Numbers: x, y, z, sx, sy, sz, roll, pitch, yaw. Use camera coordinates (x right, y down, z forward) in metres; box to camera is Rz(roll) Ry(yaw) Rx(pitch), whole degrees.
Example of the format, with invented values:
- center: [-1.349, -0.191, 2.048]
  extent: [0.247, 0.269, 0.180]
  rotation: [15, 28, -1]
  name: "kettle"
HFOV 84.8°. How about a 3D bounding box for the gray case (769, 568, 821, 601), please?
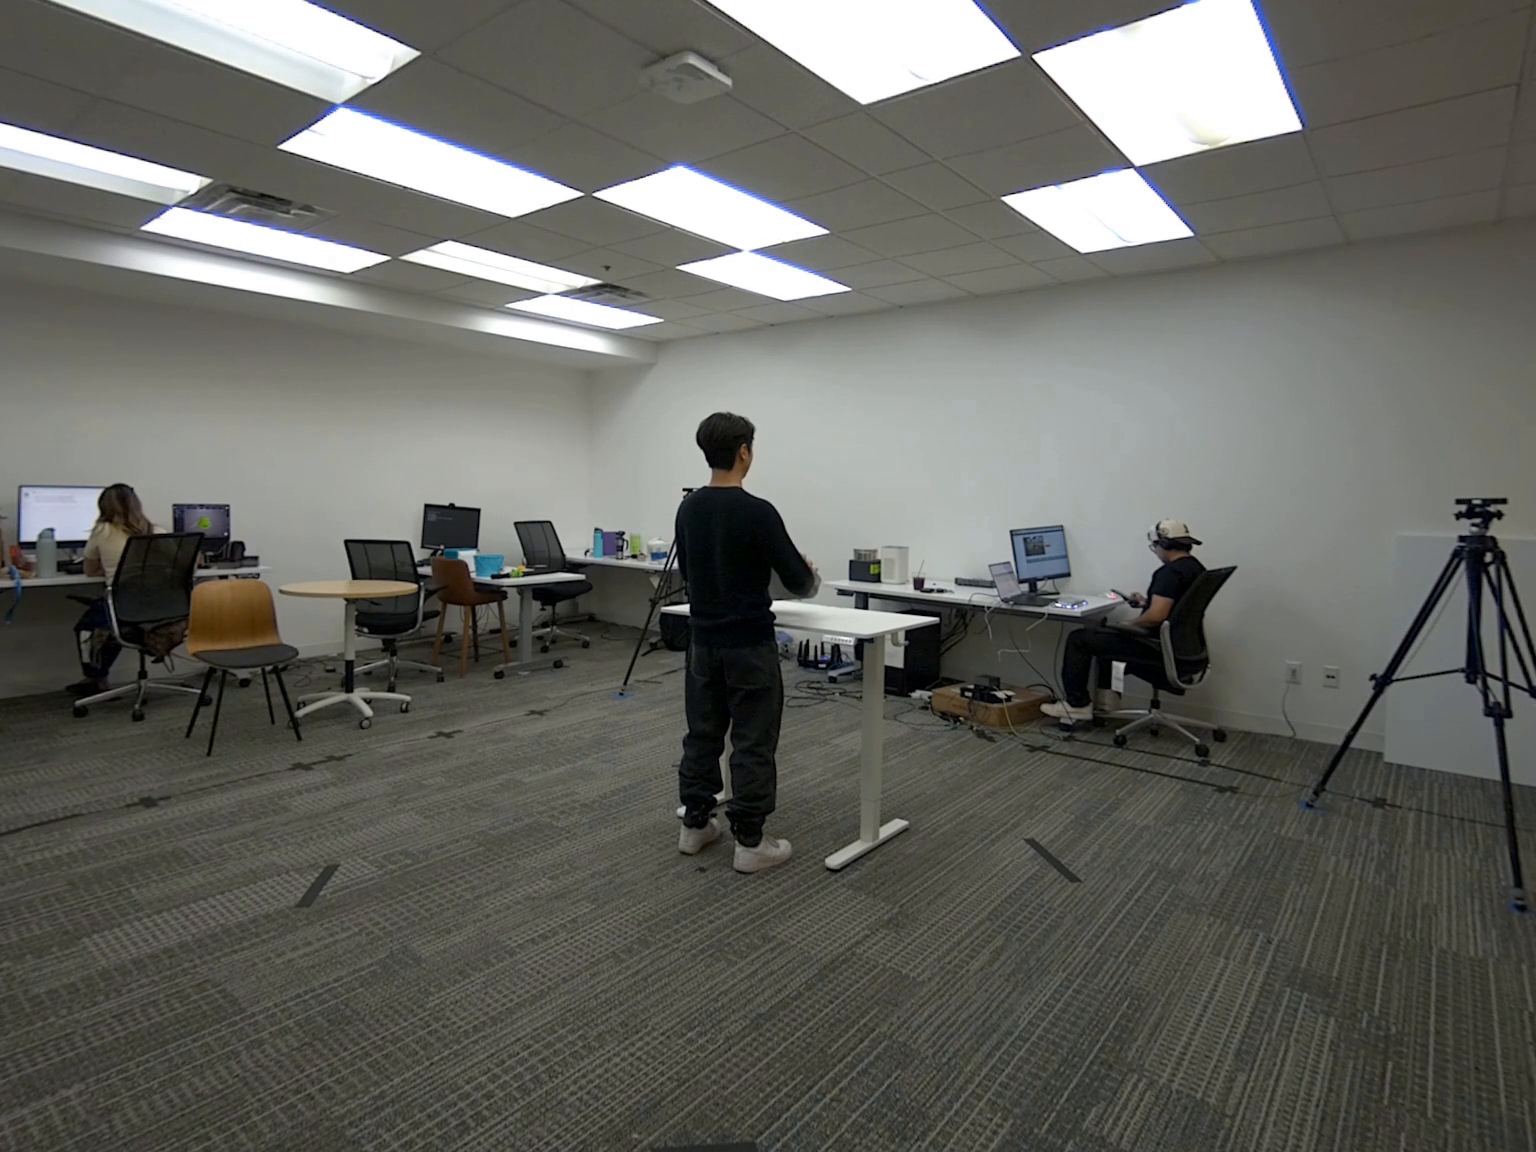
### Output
- center: [0.045, -0.011, 3.502]
  extent: [0.264, 0.105, 0.251]
  rotation: [-7, -46, 45]
  name: "gray case"
